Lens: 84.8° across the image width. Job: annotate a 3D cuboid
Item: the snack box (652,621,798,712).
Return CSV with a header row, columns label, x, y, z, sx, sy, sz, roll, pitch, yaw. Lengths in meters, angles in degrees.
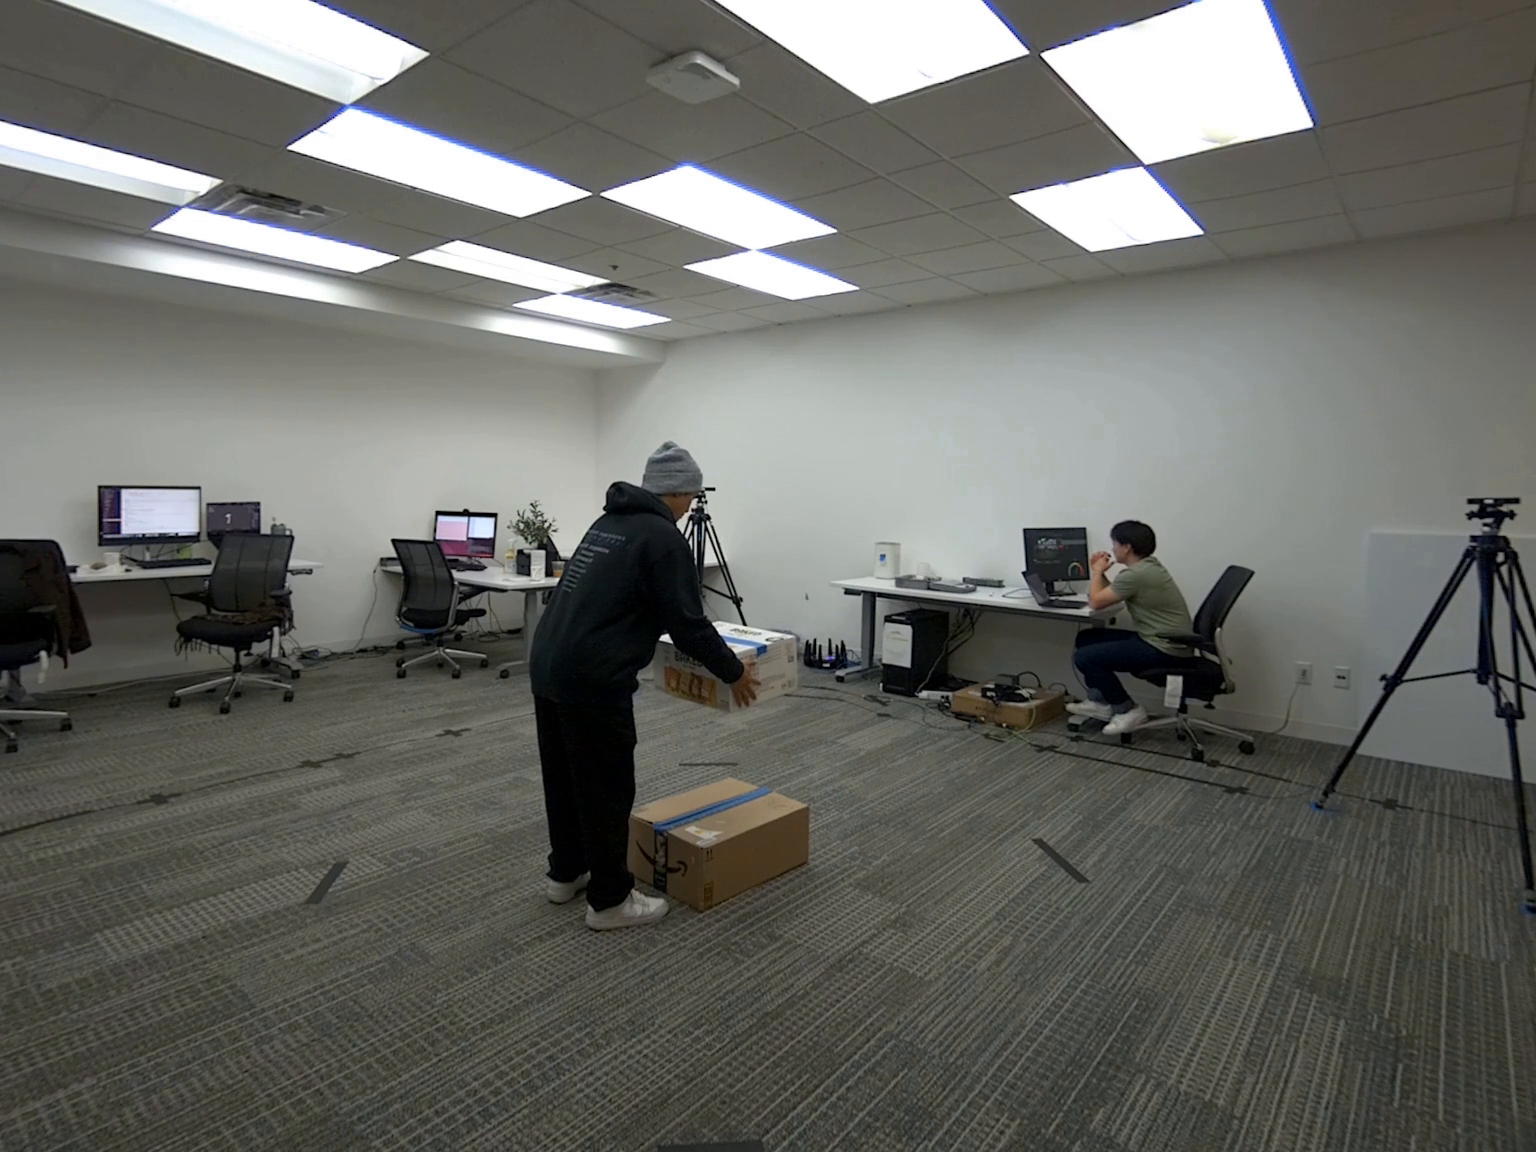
label,x,y,z,sx,sy,sz,roll,pitch,yaw
snack box,-0.168,0.318,3.092,0.331,0.204,0.419,-12,13,-44
